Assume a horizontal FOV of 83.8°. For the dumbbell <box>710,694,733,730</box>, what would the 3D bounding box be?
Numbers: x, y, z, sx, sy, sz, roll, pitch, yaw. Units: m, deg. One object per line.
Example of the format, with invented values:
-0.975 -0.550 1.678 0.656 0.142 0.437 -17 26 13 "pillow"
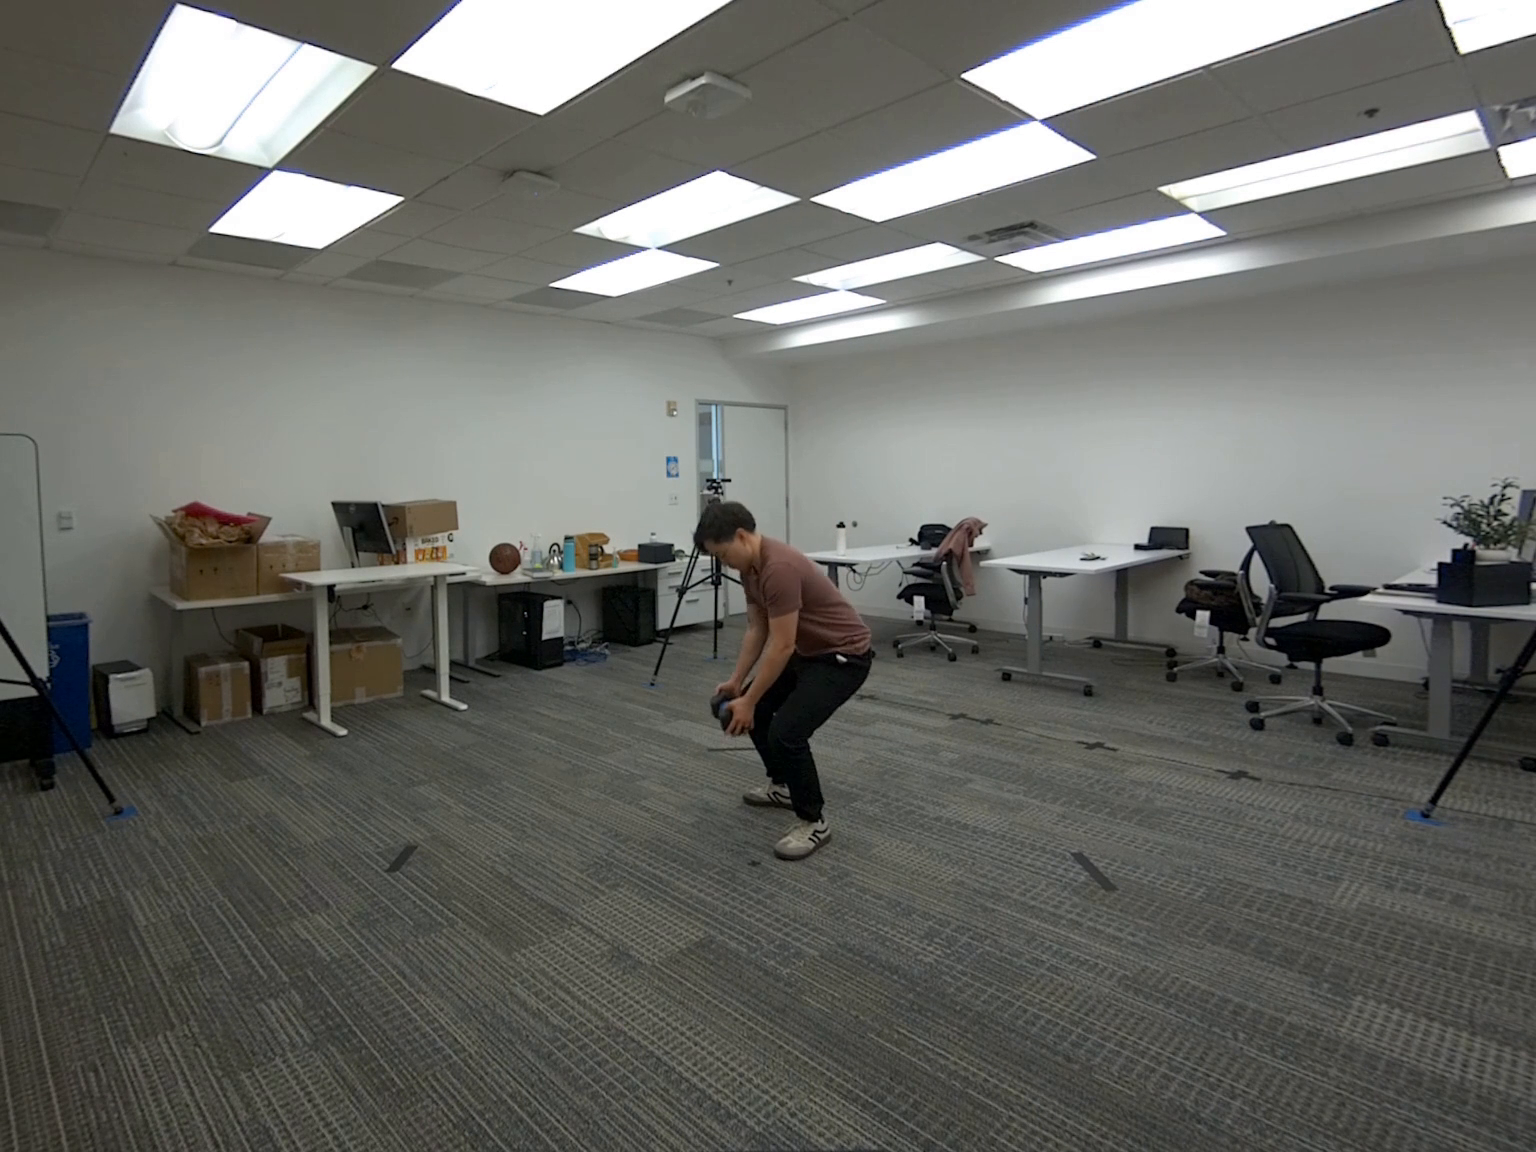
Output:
-0.136 0.545 3.382 0.108 0.122 0.297 -13 7 -11 "dumbbell"
